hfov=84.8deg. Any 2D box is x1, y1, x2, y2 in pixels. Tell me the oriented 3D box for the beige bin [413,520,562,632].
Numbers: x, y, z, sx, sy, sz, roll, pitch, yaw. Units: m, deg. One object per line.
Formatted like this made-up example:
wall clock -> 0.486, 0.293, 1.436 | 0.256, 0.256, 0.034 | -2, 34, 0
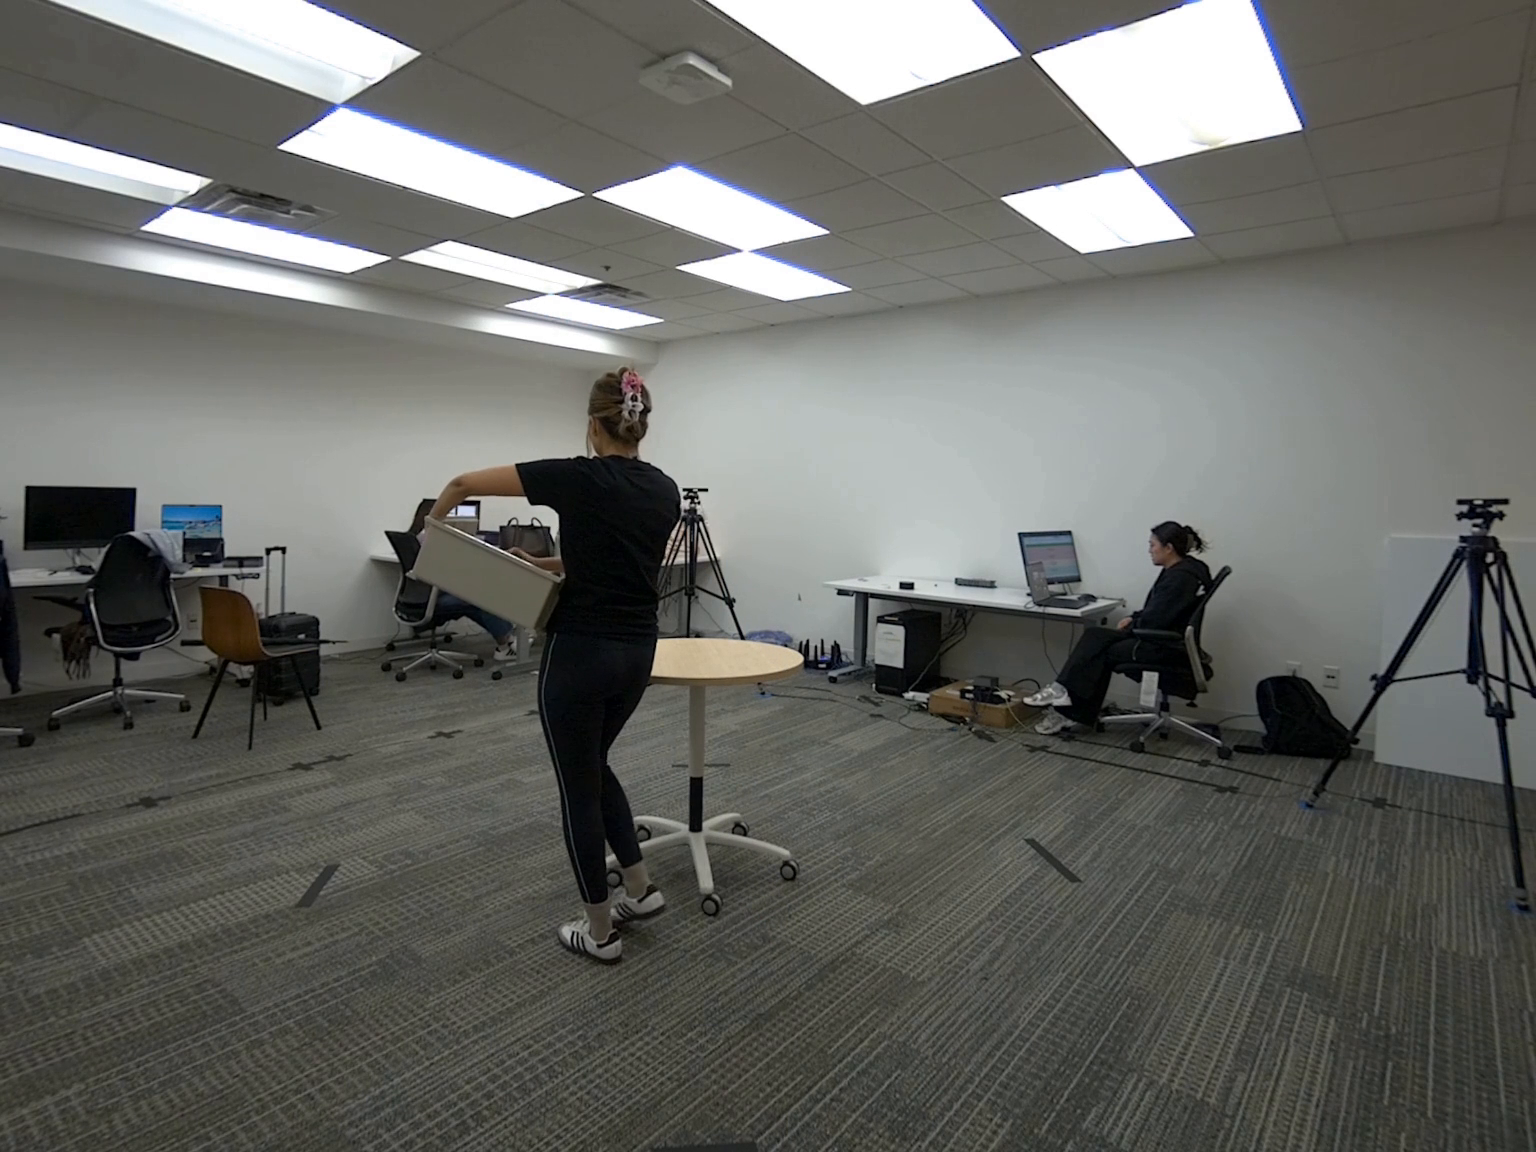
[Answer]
beige bin -> -0.782, -0.018, 2.528 | 0.425, 0.188, 0.376 | 25, 8, 4
